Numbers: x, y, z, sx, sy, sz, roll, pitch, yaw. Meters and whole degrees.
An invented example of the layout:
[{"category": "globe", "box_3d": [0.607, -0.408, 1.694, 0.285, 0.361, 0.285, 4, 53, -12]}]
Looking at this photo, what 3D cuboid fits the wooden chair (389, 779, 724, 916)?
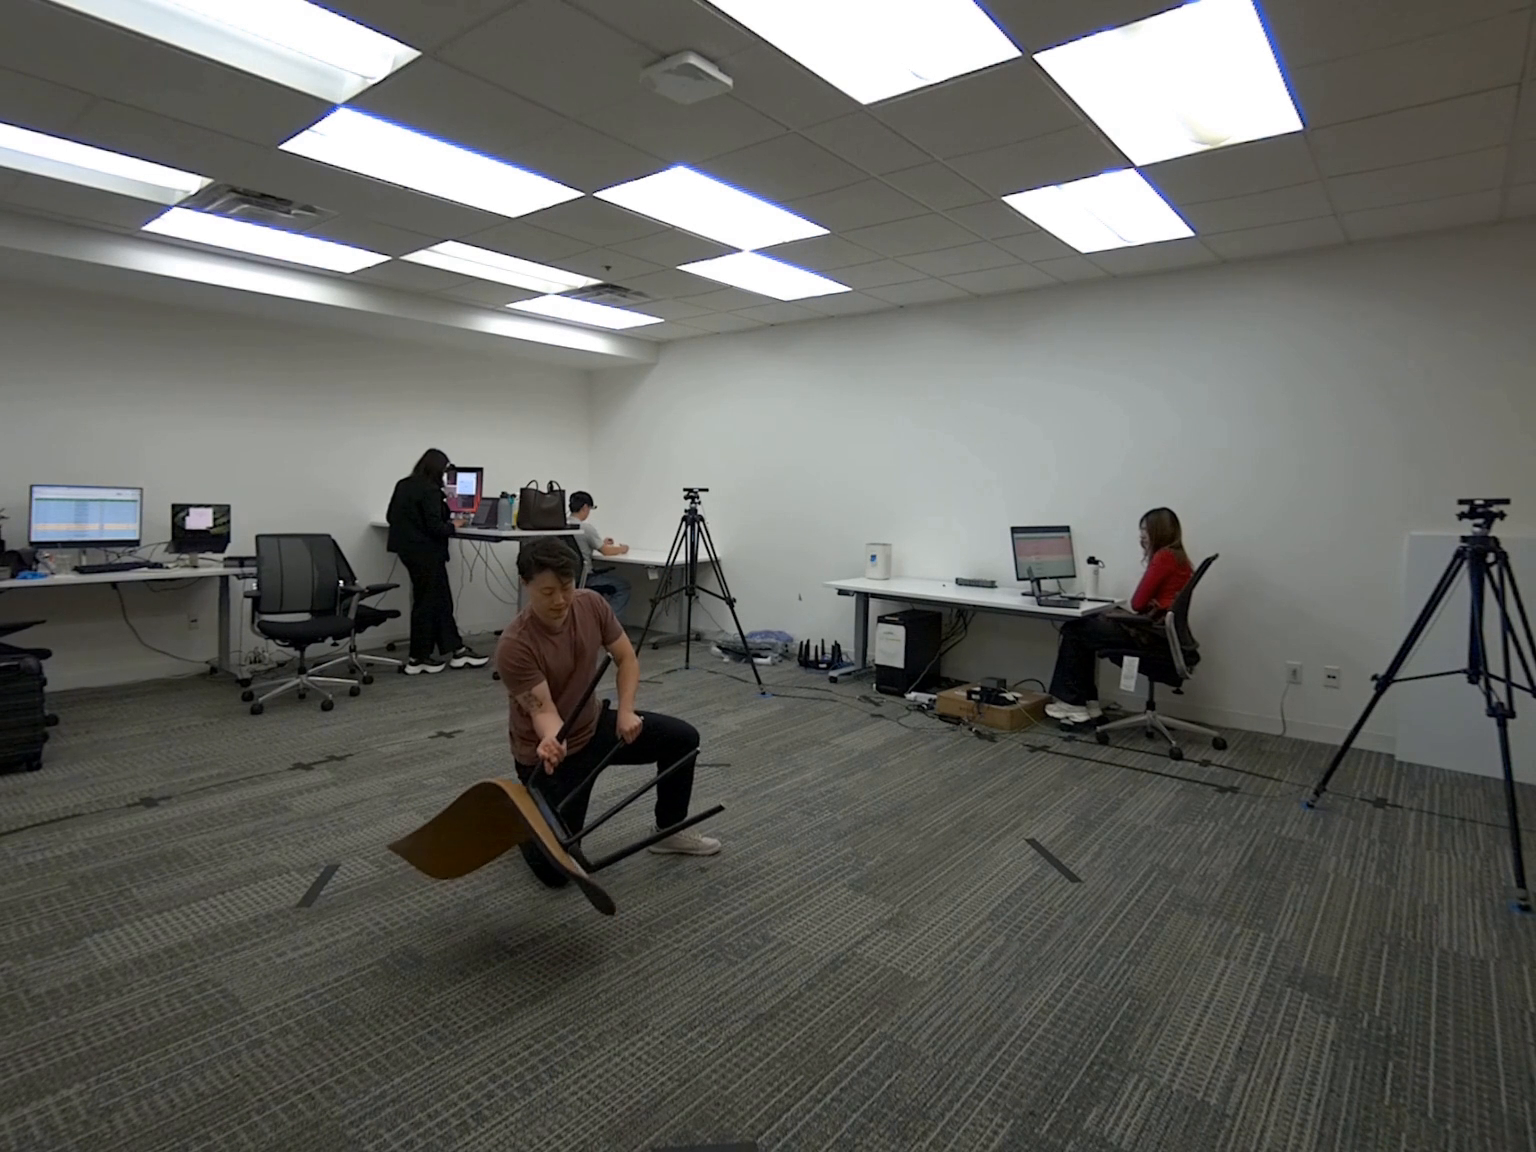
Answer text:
[{"category": "wooden chair", "box_3d": [-0.631, 0.758, 2.551, 0.872, 0.462, 0.544, -35, 55, -16]}]
